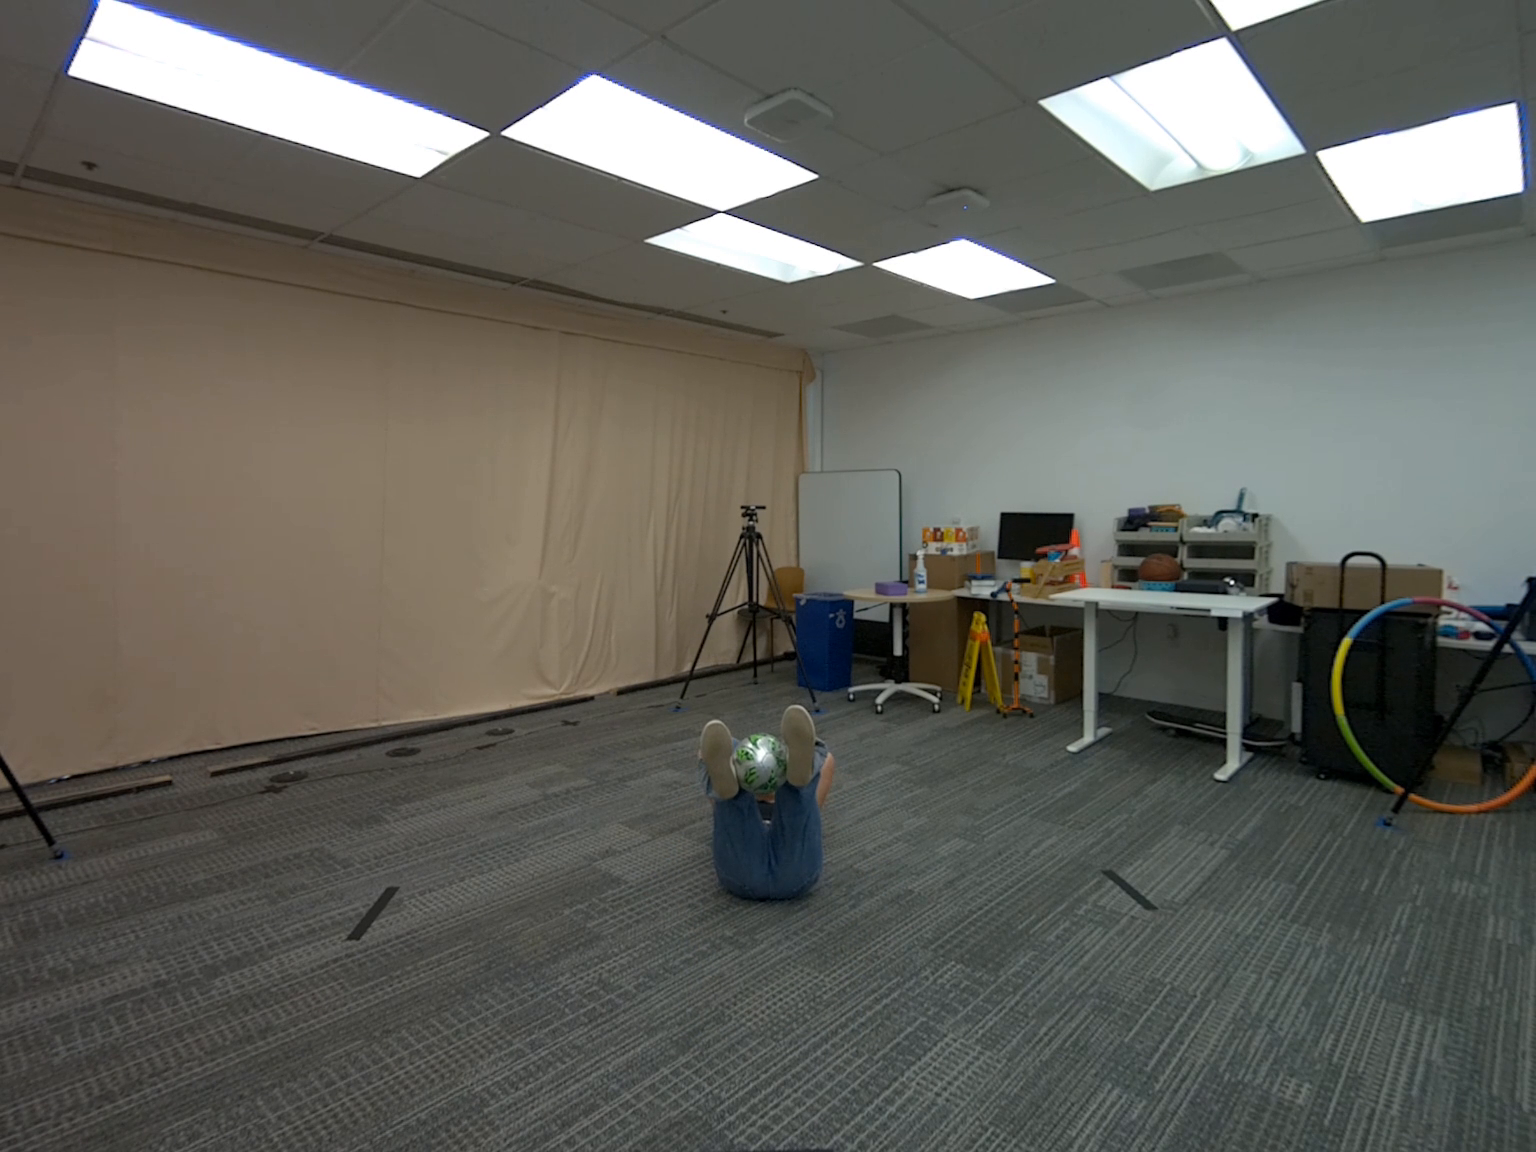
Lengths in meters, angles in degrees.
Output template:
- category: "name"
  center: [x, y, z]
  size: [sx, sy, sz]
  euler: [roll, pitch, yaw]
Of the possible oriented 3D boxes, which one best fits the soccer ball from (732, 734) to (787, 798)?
- category: "soccer ball"
  center: [-0.010, 0.598, 2.660]
  size: [0.187, 0.187, 0.188]
  euler: [3, 4, -2]
